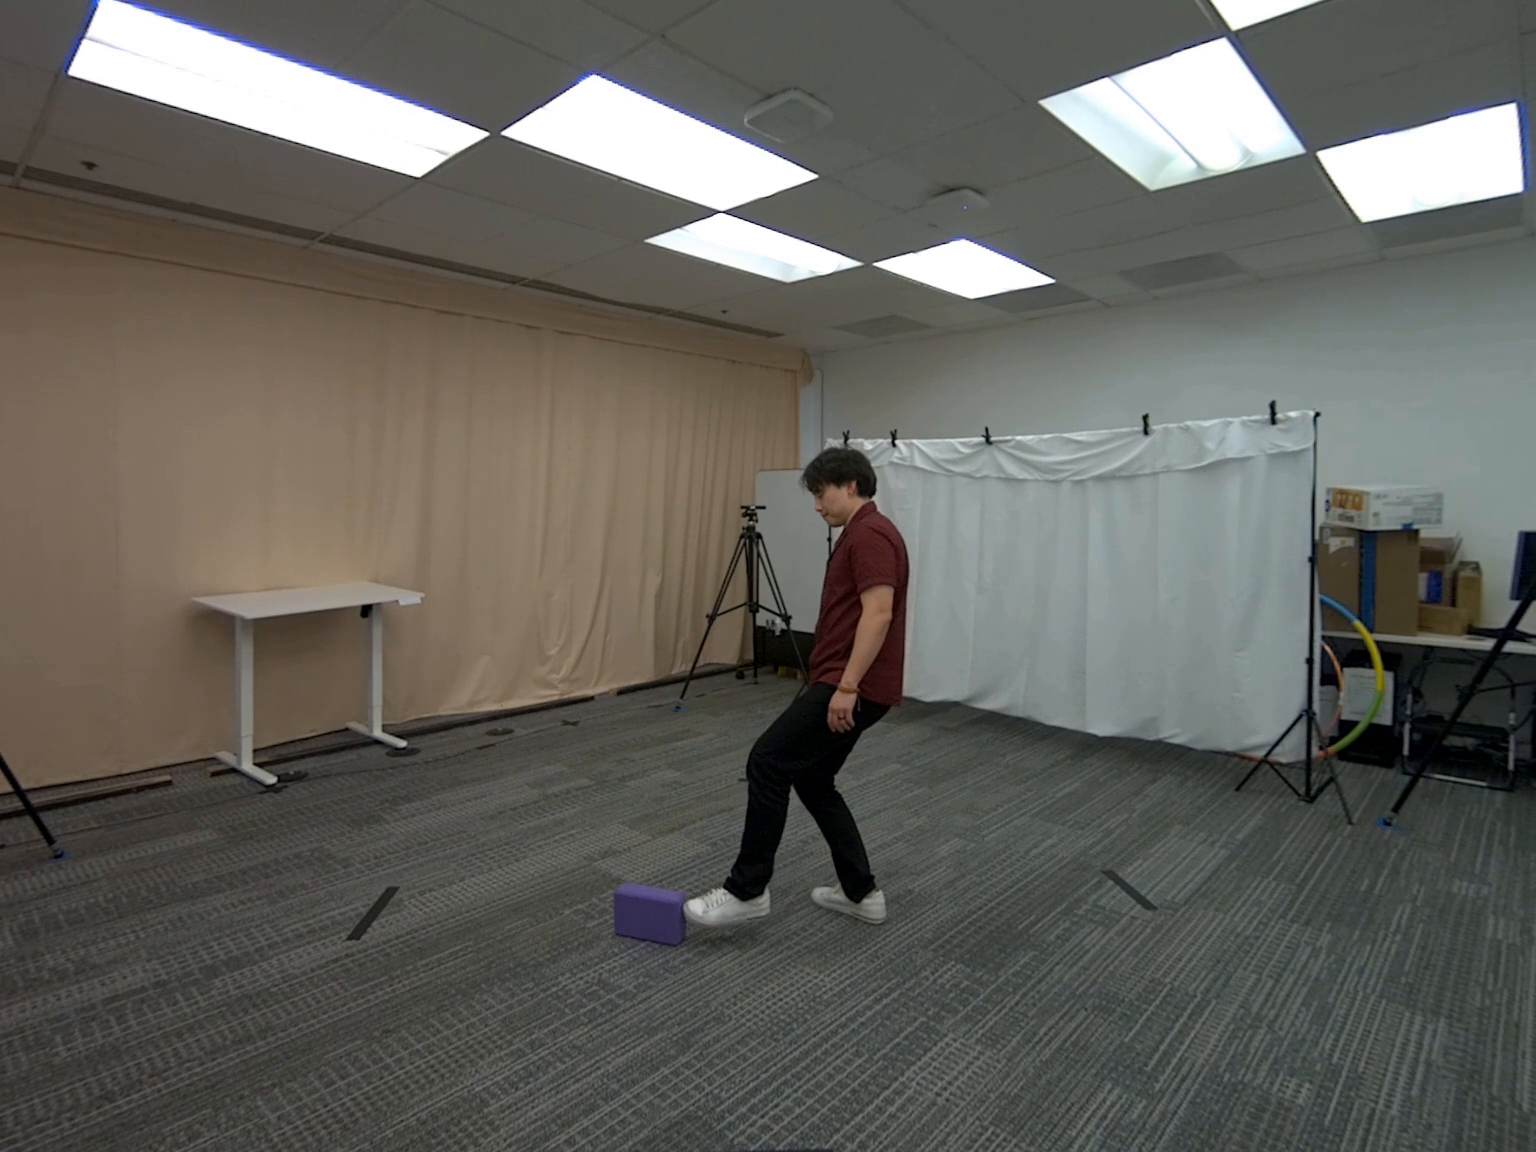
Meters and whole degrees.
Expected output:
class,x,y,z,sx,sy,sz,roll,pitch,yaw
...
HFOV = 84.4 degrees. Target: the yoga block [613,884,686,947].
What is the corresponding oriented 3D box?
class,x,y,z,sx,sy,sz,roll,pitch,yaw
yoga block,-0.383,1.093,2.723,0.234,0.148,0.075,2,4,21
